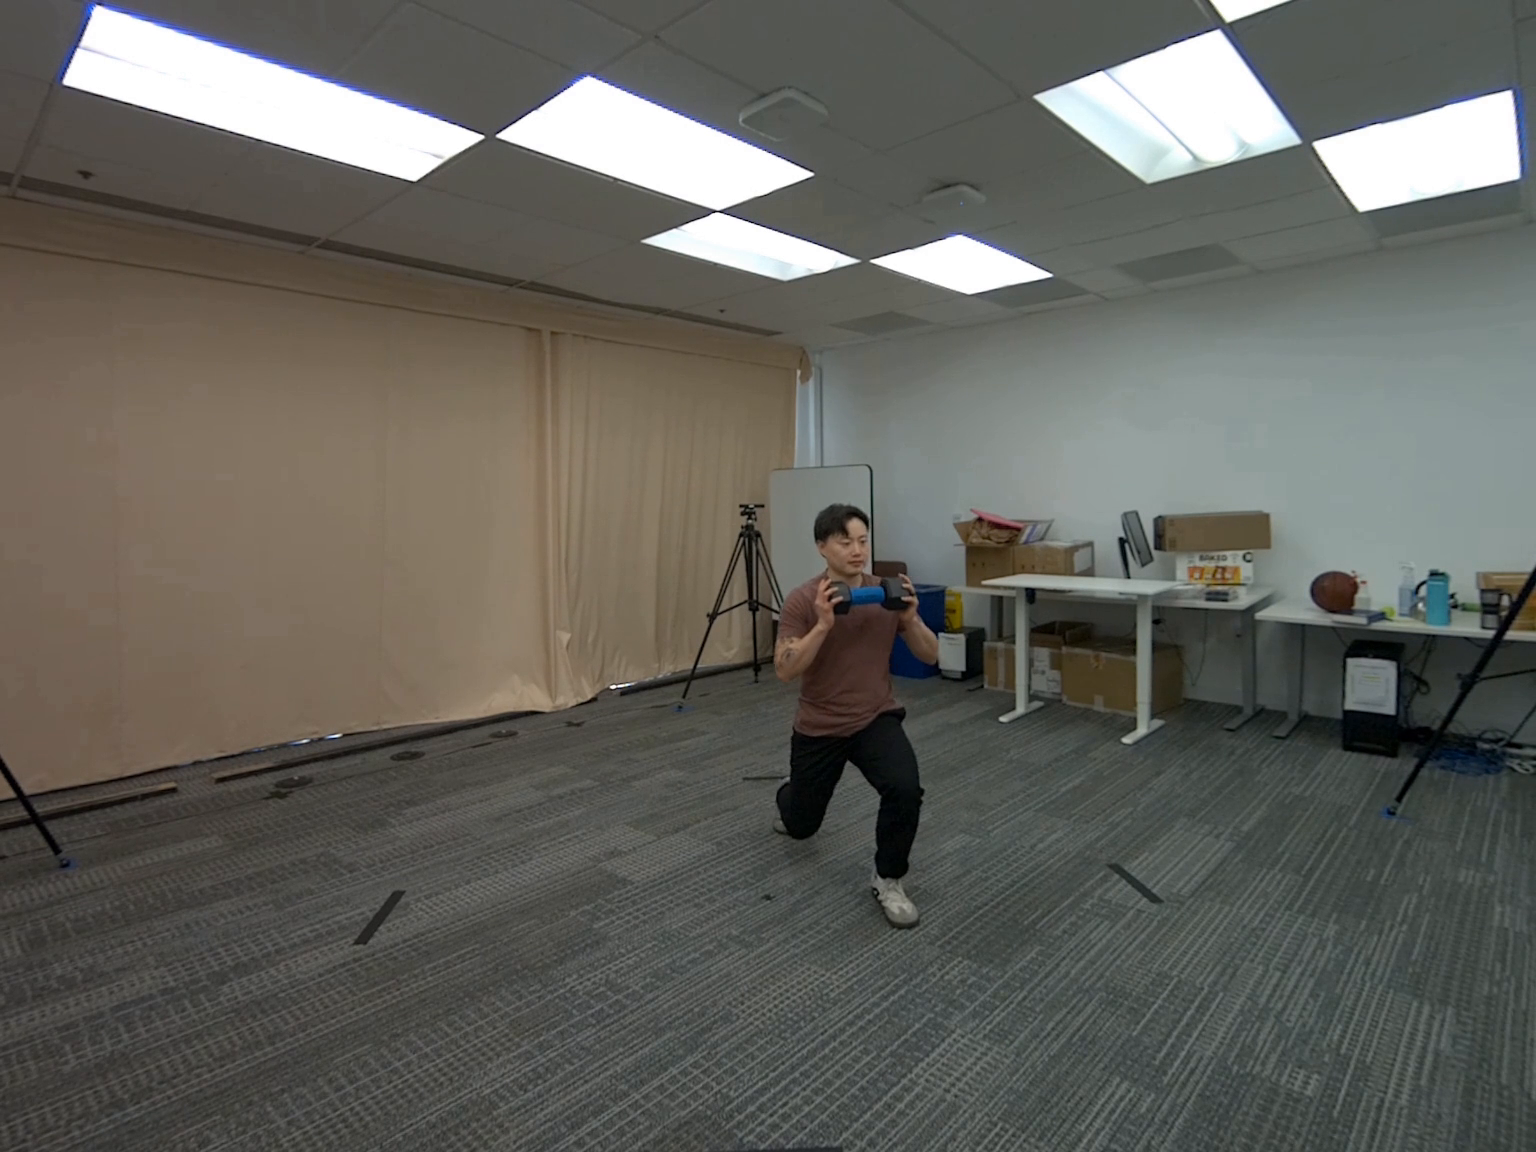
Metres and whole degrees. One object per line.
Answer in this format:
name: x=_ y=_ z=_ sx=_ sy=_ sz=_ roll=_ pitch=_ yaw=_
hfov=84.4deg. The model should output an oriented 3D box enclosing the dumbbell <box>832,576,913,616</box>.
dumbbell: x=0.336 y=0.077 z=2.944 sx=0.291 sy=0.108 sz=0.124 roll=-5 pitch=3 yaw=-10
